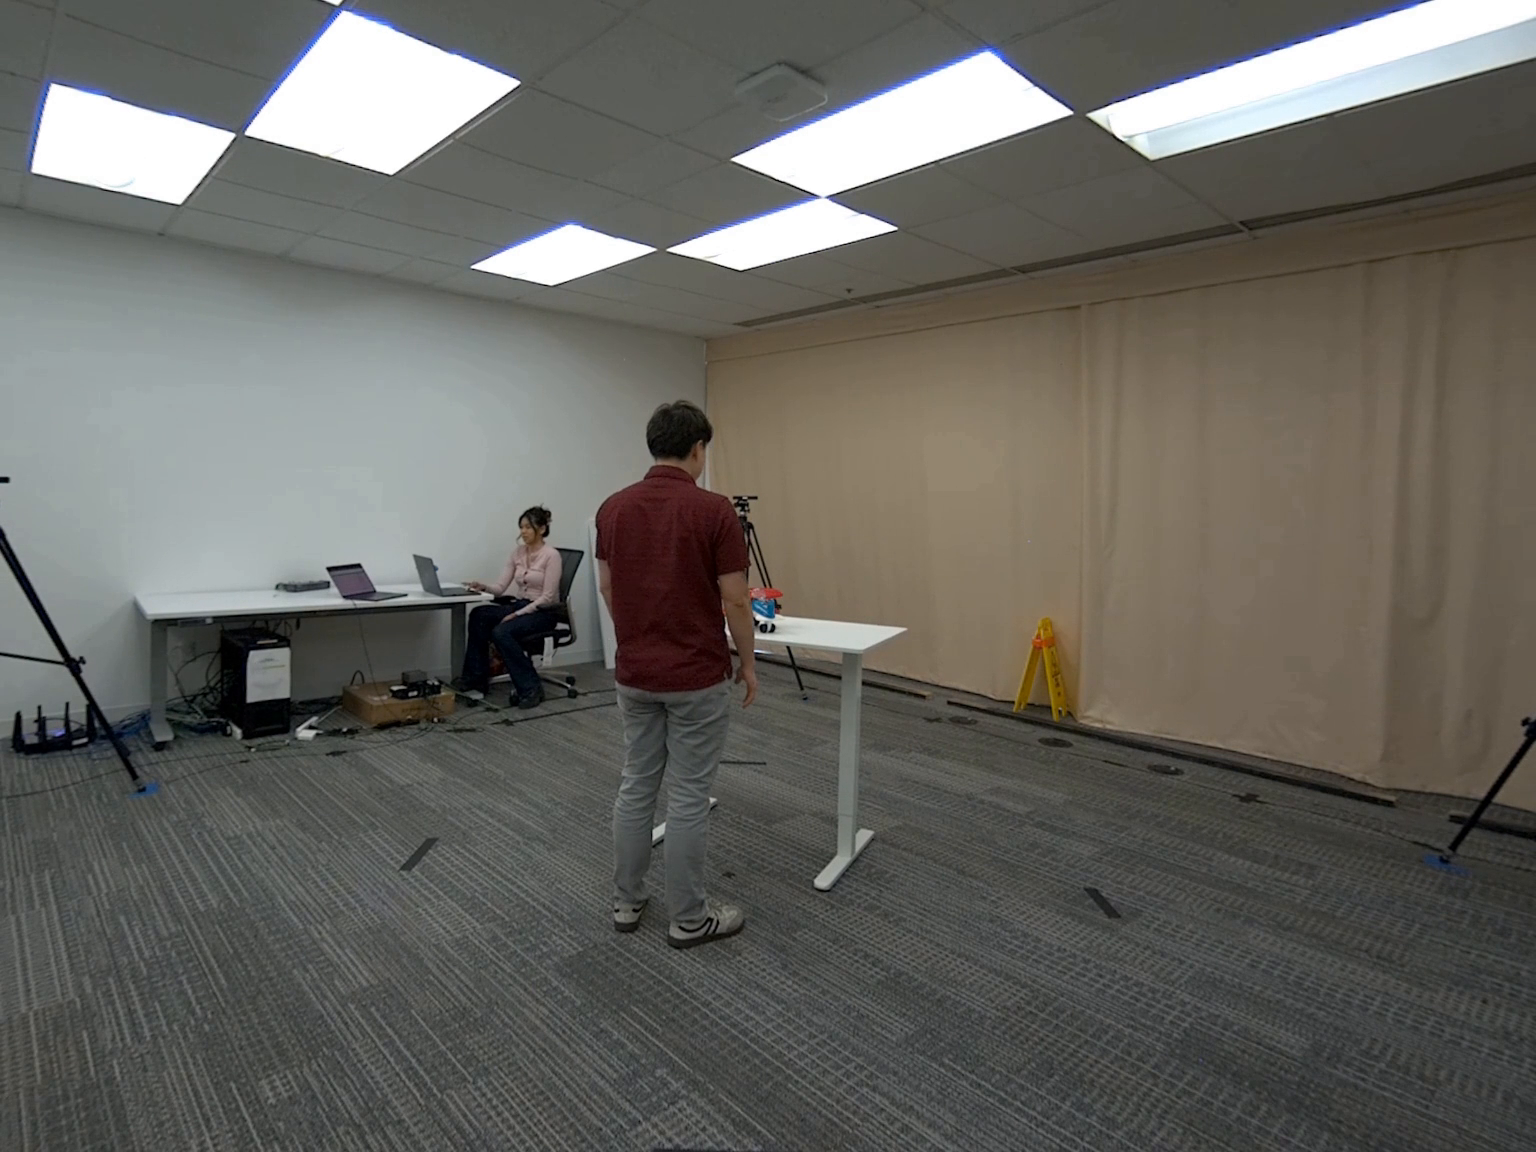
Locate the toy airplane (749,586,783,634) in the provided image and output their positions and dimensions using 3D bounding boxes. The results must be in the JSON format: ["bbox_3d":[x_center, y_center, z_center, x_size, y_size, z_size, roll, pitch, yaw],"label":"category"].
[{"bbox_3d":[-0.039,0.129,3.290,0.265,0.156,0.246,4,5,33],"label":"toy airplane"}]
